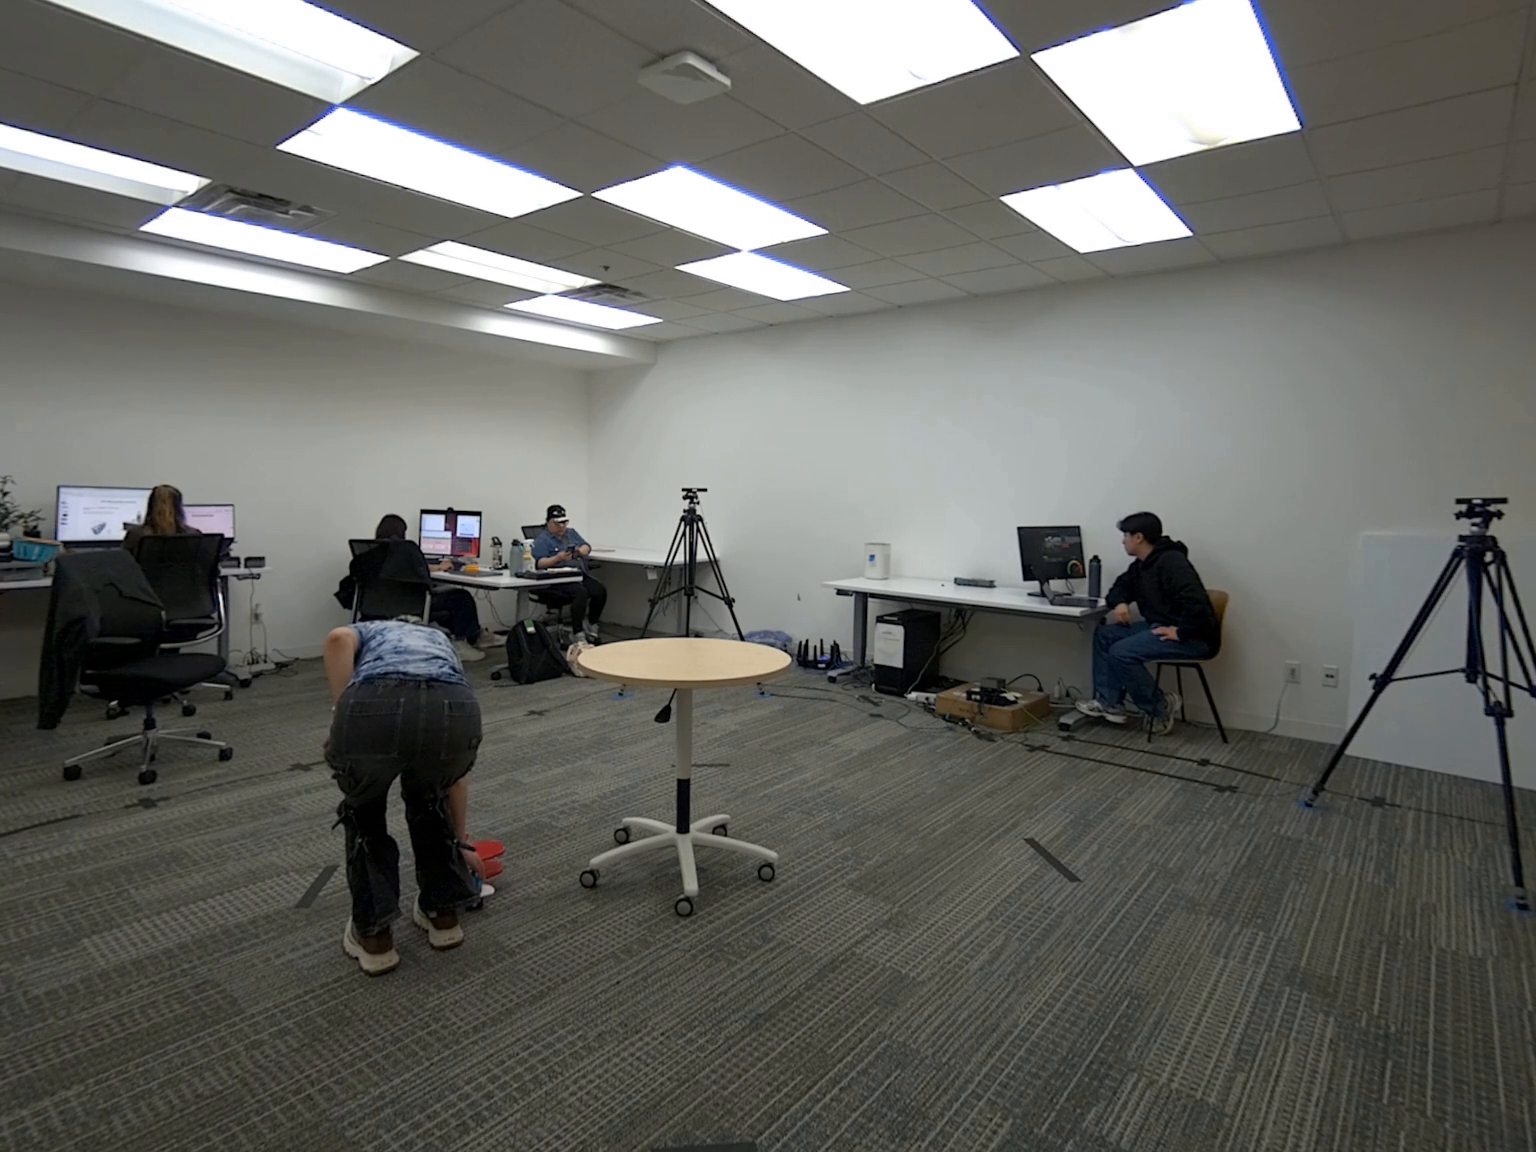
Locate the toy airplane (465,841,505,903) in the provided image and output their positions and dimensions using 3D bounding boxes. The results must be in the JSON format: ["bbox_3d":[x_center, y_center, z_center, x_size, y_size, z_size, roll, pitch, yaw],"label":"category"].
[{"bbox_3d":[-1.016,1.010,2.877,0.267,0.156,0.245,2,6,31],"label":"toy airplane"}]
